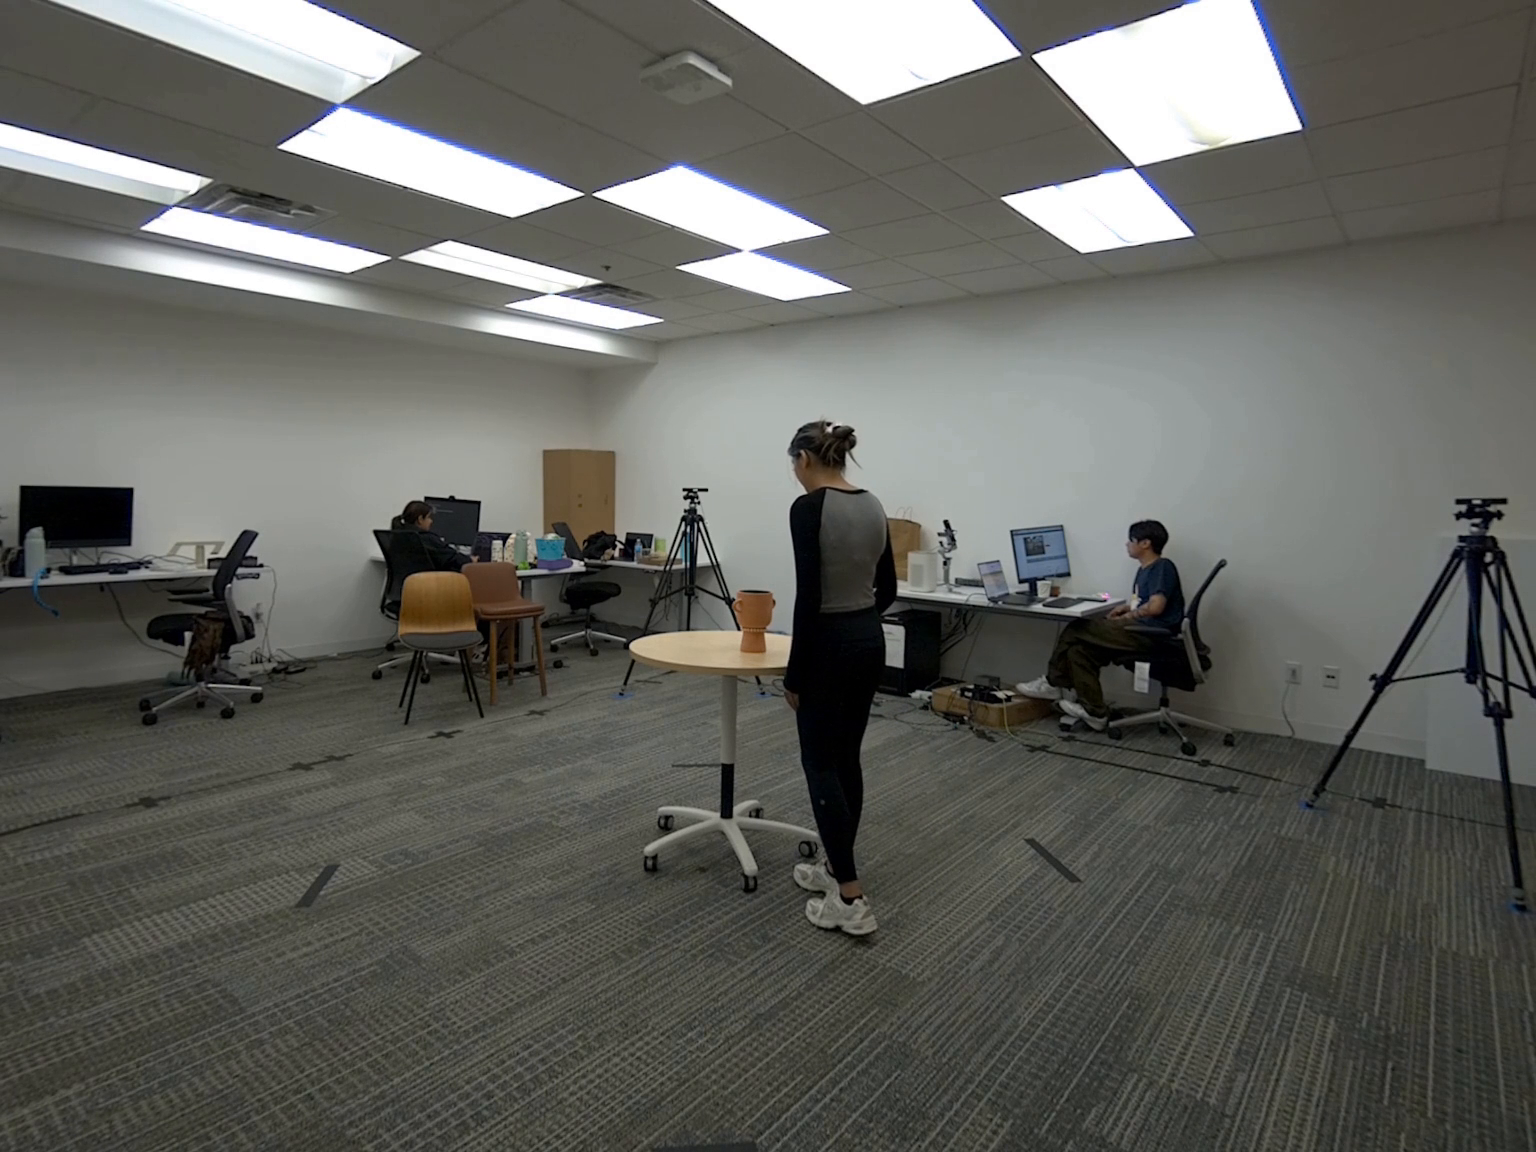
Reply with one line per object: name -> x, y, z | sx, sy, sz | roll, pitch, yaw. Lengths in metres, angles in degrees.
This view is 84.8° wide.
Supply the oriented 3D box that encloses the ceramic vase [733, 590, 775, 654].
ceramic vase -> -0.060, 0.166, 3.164 | 0.159, 0.219, 0.134 | 1, 3, 3
